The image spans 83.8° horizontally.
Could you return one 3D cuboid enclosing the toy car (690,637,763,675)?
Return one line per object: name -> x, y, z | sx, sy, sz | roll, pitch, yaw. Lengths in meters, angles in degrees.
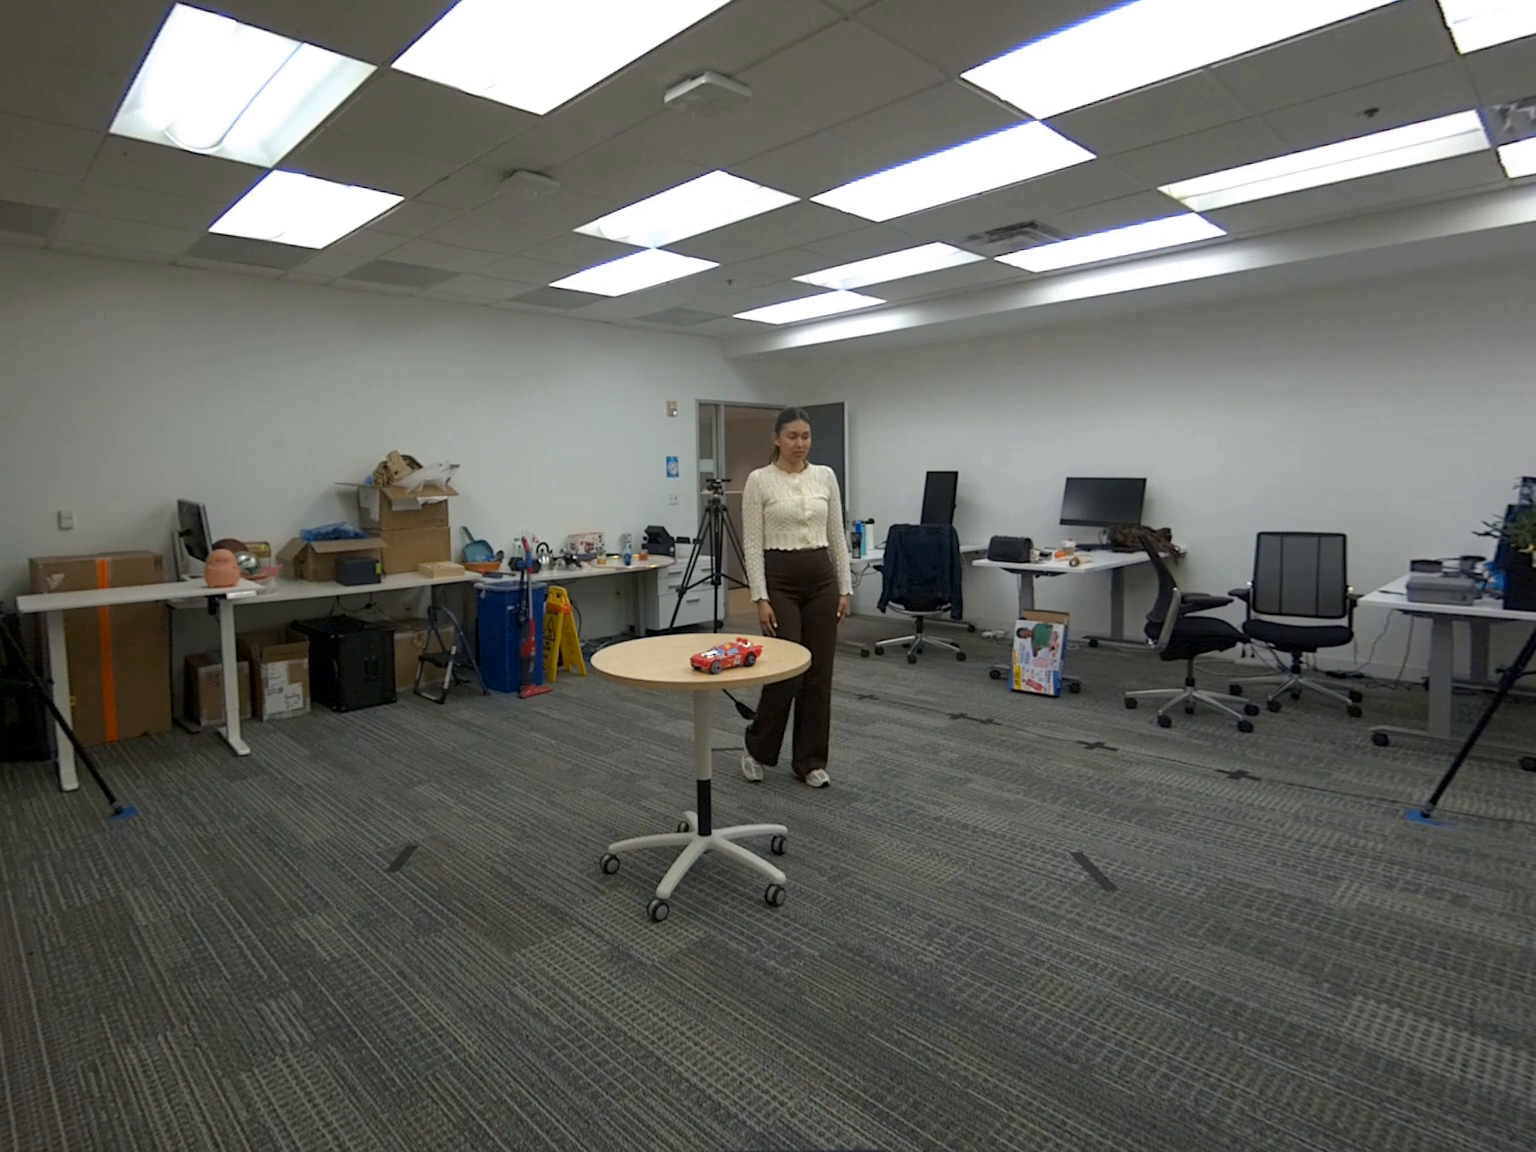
toy car -> -0.123, 0.268, 2.795 | 0.250, 0.082, 0.134 | -21, 18, -37
